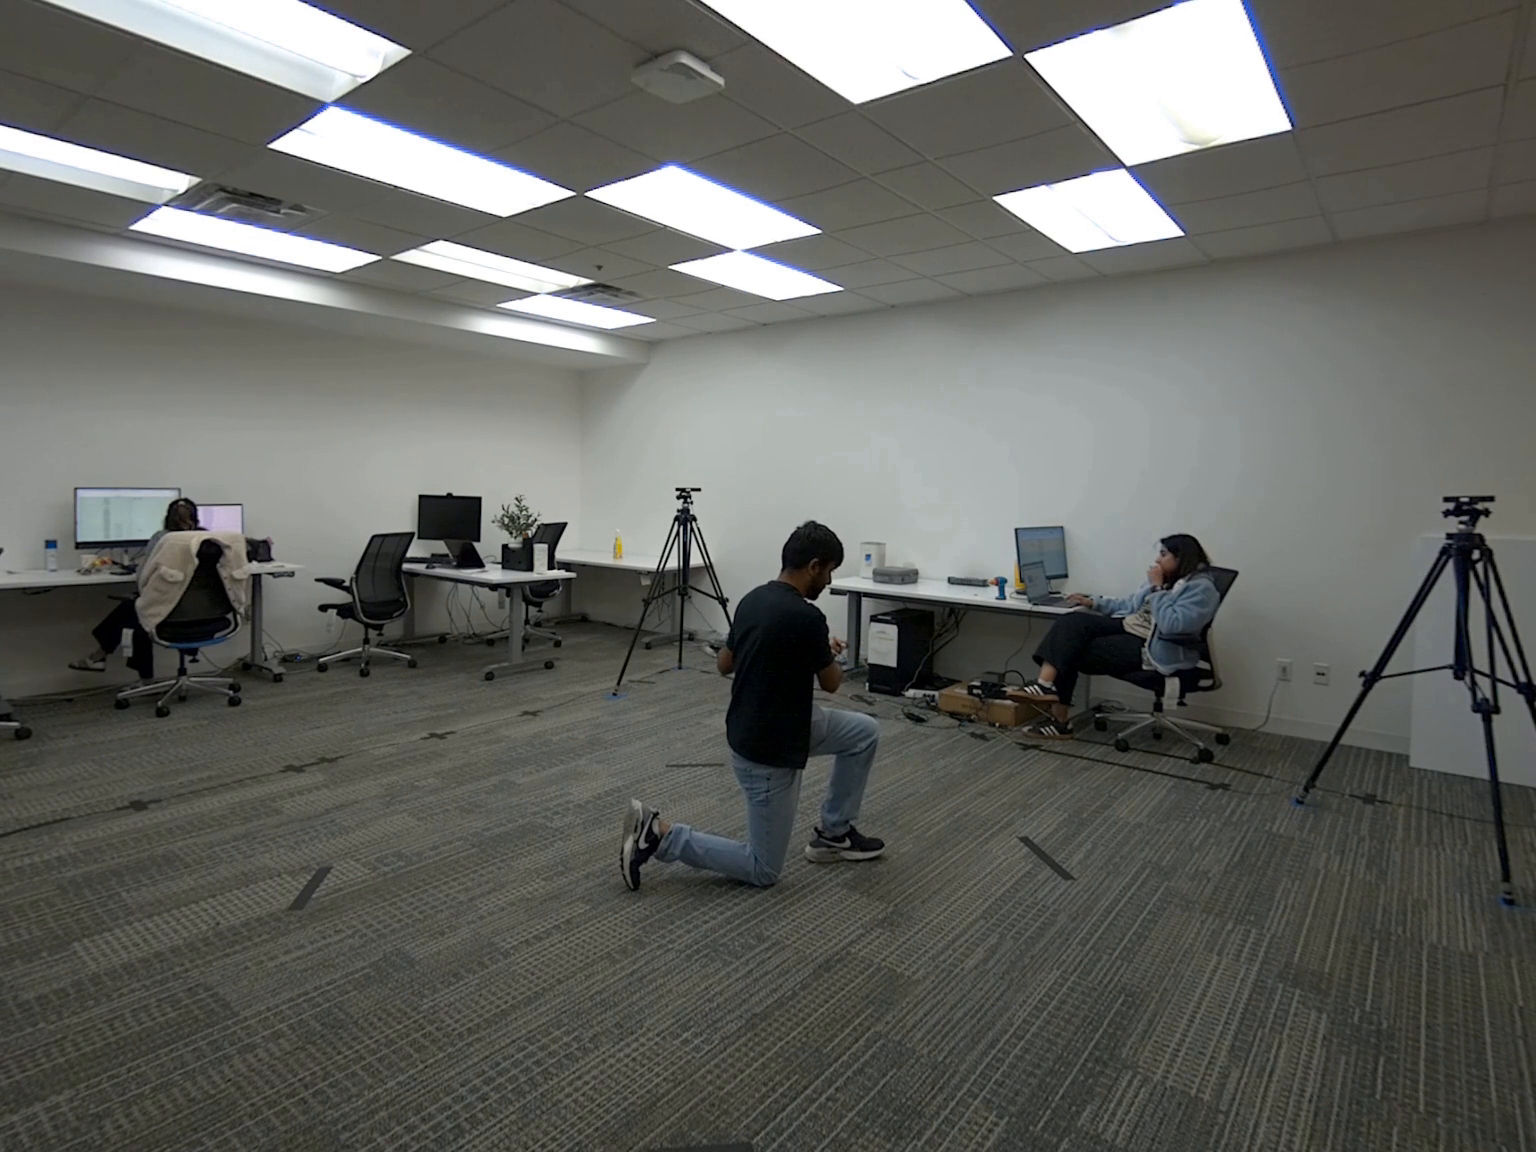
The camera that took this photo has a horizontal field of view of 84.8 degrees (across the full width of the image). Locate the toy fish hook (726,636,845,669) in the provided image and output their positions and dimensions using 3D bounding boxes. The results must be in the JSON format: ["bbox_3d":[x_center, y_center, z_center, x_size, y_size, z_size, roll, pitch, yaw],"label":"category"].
[{"bbox_3d":[0.133,0.209,3.495,0.525,0.047,0.222,13,34,34],"label":"toy fish hook"}]
